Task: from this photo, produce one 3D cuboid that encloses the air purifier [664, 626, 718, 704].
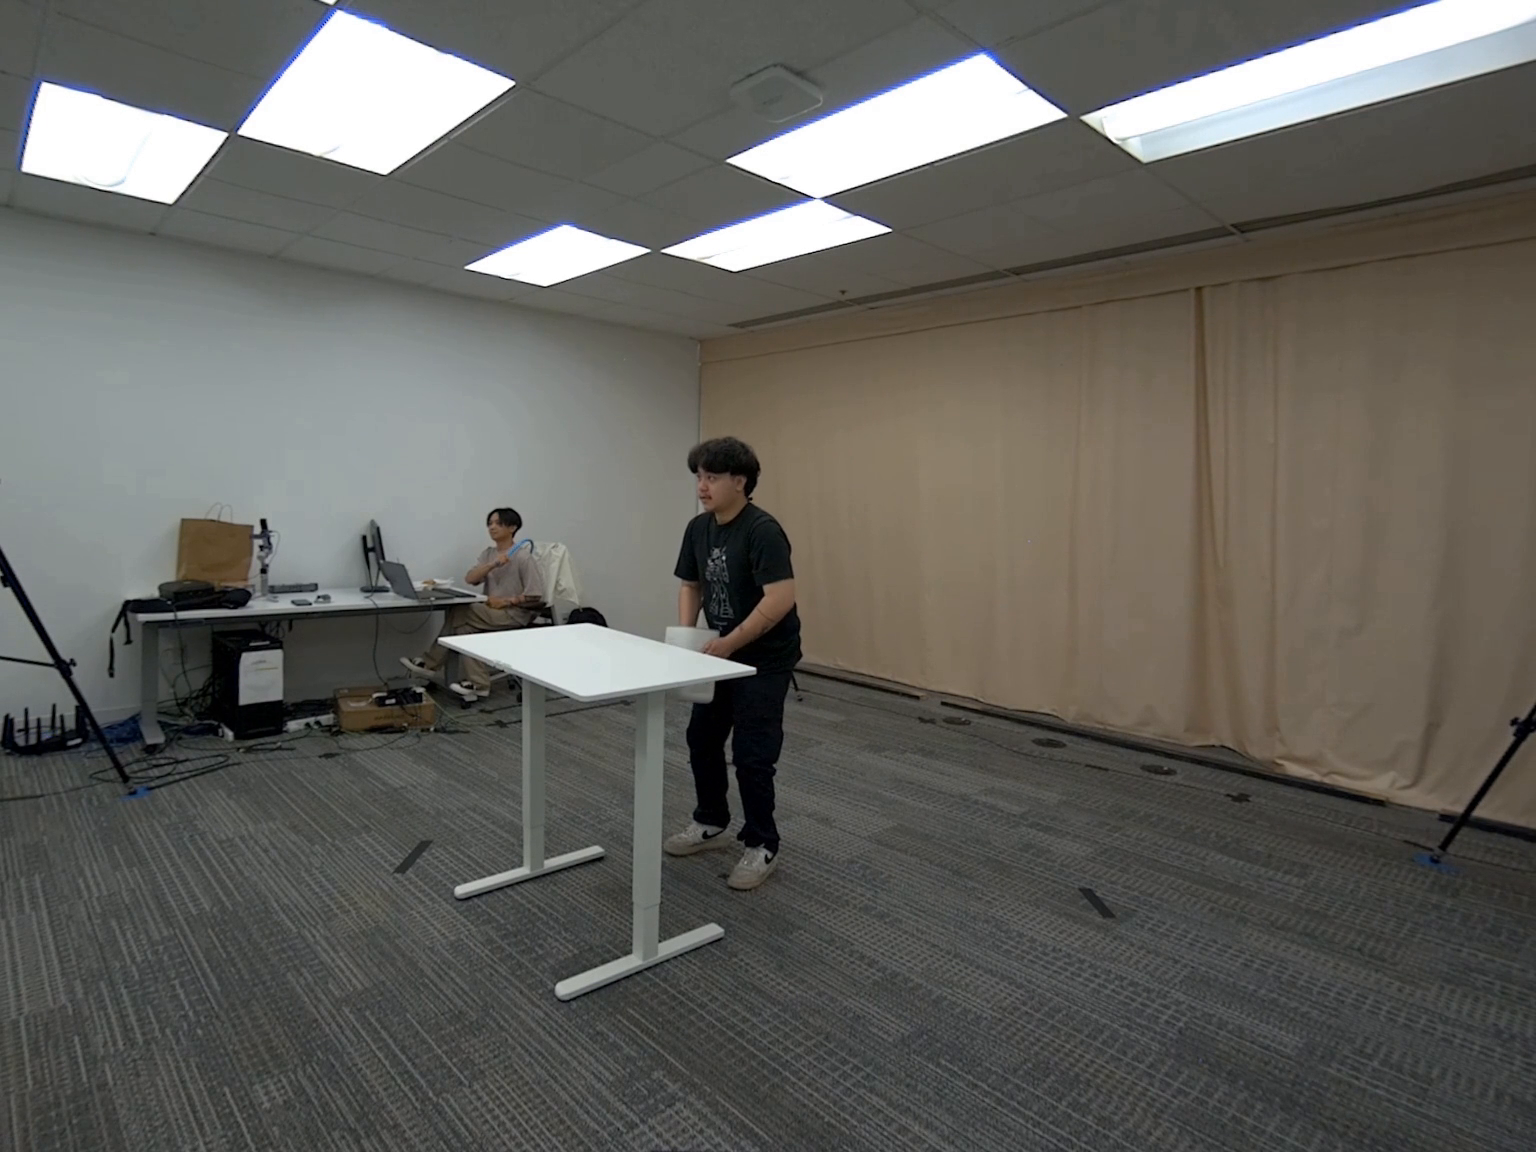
[{"bbox_3d":[-0.286,0.324,3.063,0.167,0.267,0.174,13,-11,-38],"label":"air purifier"}]
